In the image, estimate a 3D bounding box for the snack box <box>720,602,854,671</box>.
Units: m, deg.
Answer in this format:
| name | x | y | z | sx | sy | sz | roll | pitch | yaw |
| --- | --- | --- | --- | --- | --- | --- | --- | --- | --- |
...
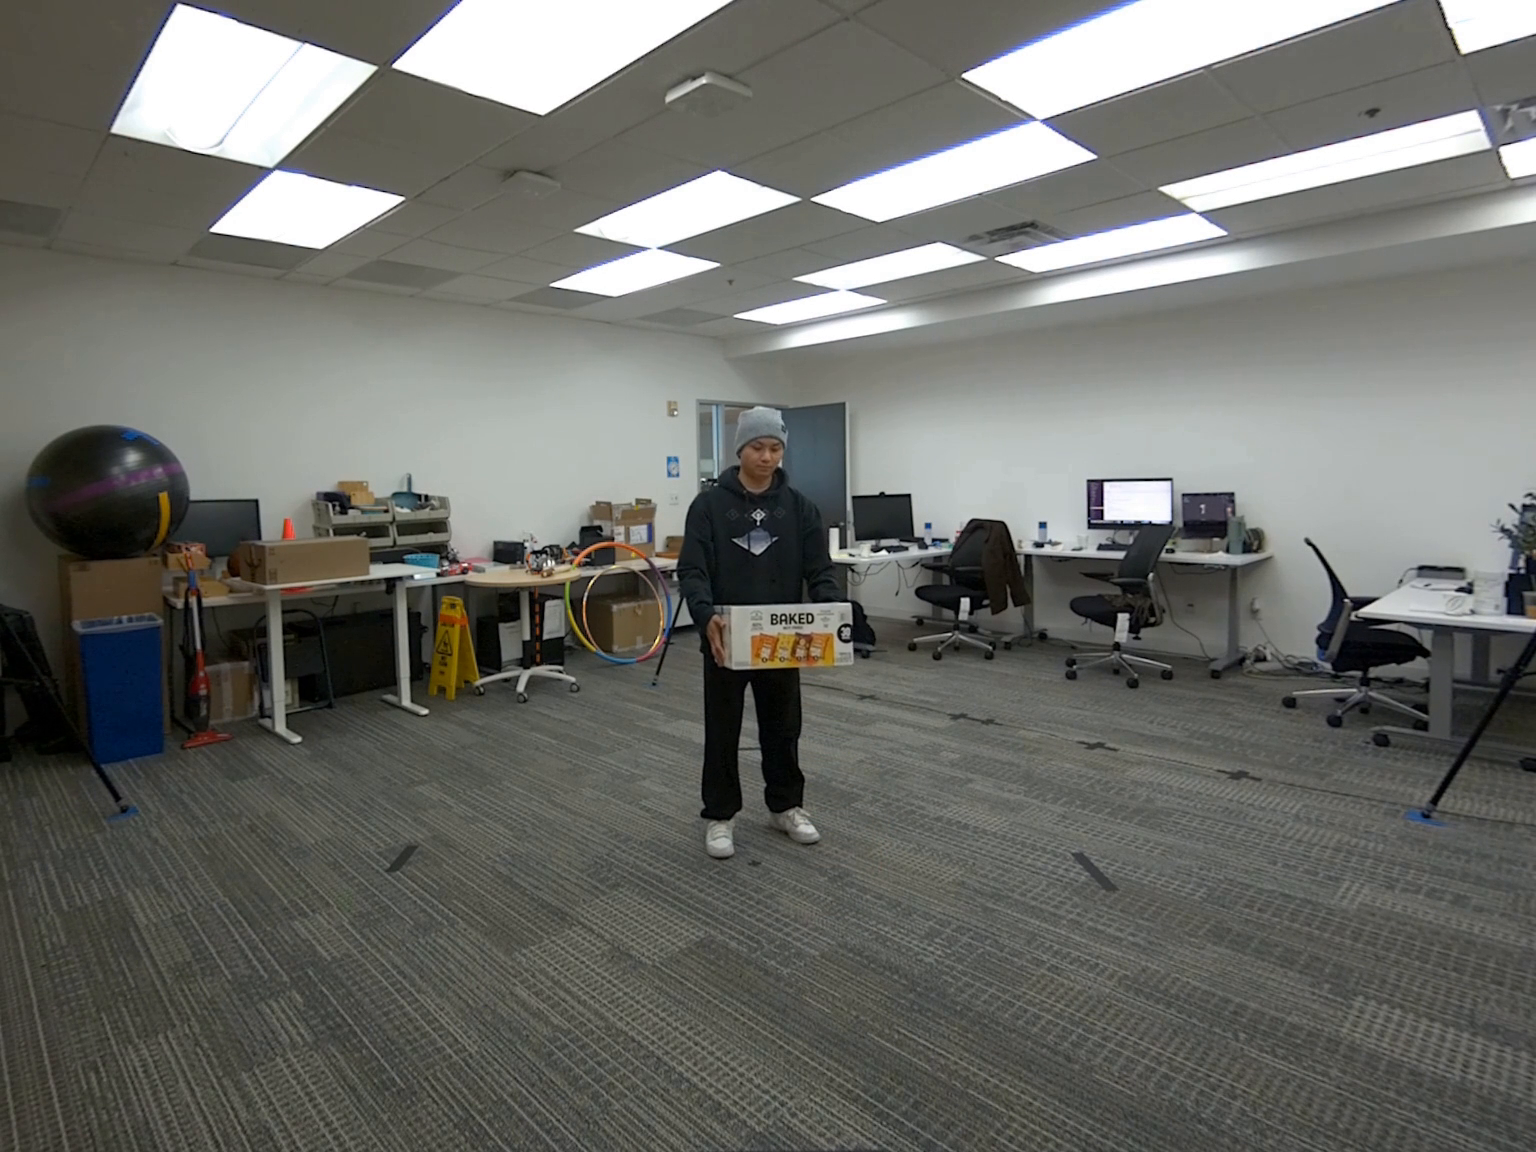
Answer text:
| name | x | y | z | sx | sy | sz | roll | pitch | yaw |
| --- | --- | --- | --- | --- | --- | --- | --- | --- | --- |
| snack box | 0.040 | 0.203 | 2.920 | 0.401 | 0.206 | 0.343 | -2 | -2 | -12 |
